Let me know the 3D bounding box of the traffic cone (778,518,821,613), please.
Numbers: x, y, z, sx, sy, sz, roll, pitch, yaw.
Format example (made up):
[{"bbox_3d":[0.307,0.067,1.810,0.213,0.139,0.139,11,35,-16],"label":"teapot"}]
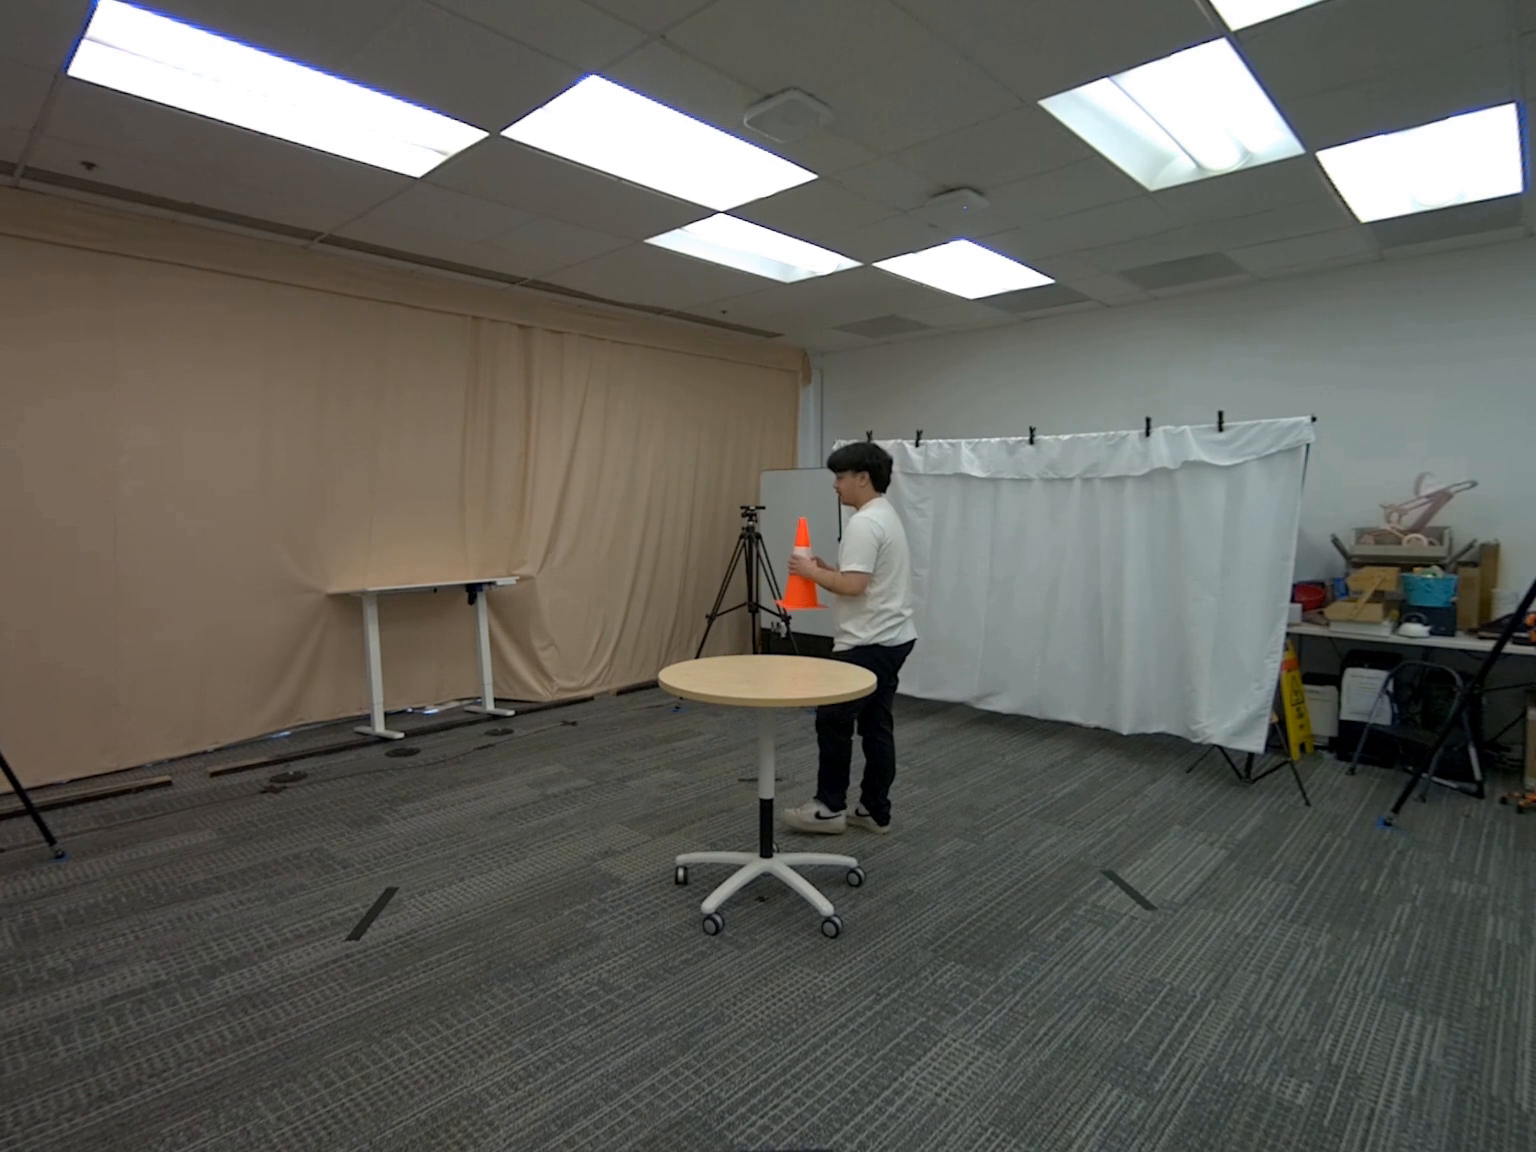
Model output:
[{"bbox_3d":[0.158,-0.059,3.708,0.206,0.382,0.203,0,5,3],"label":"traffic cone"}]
